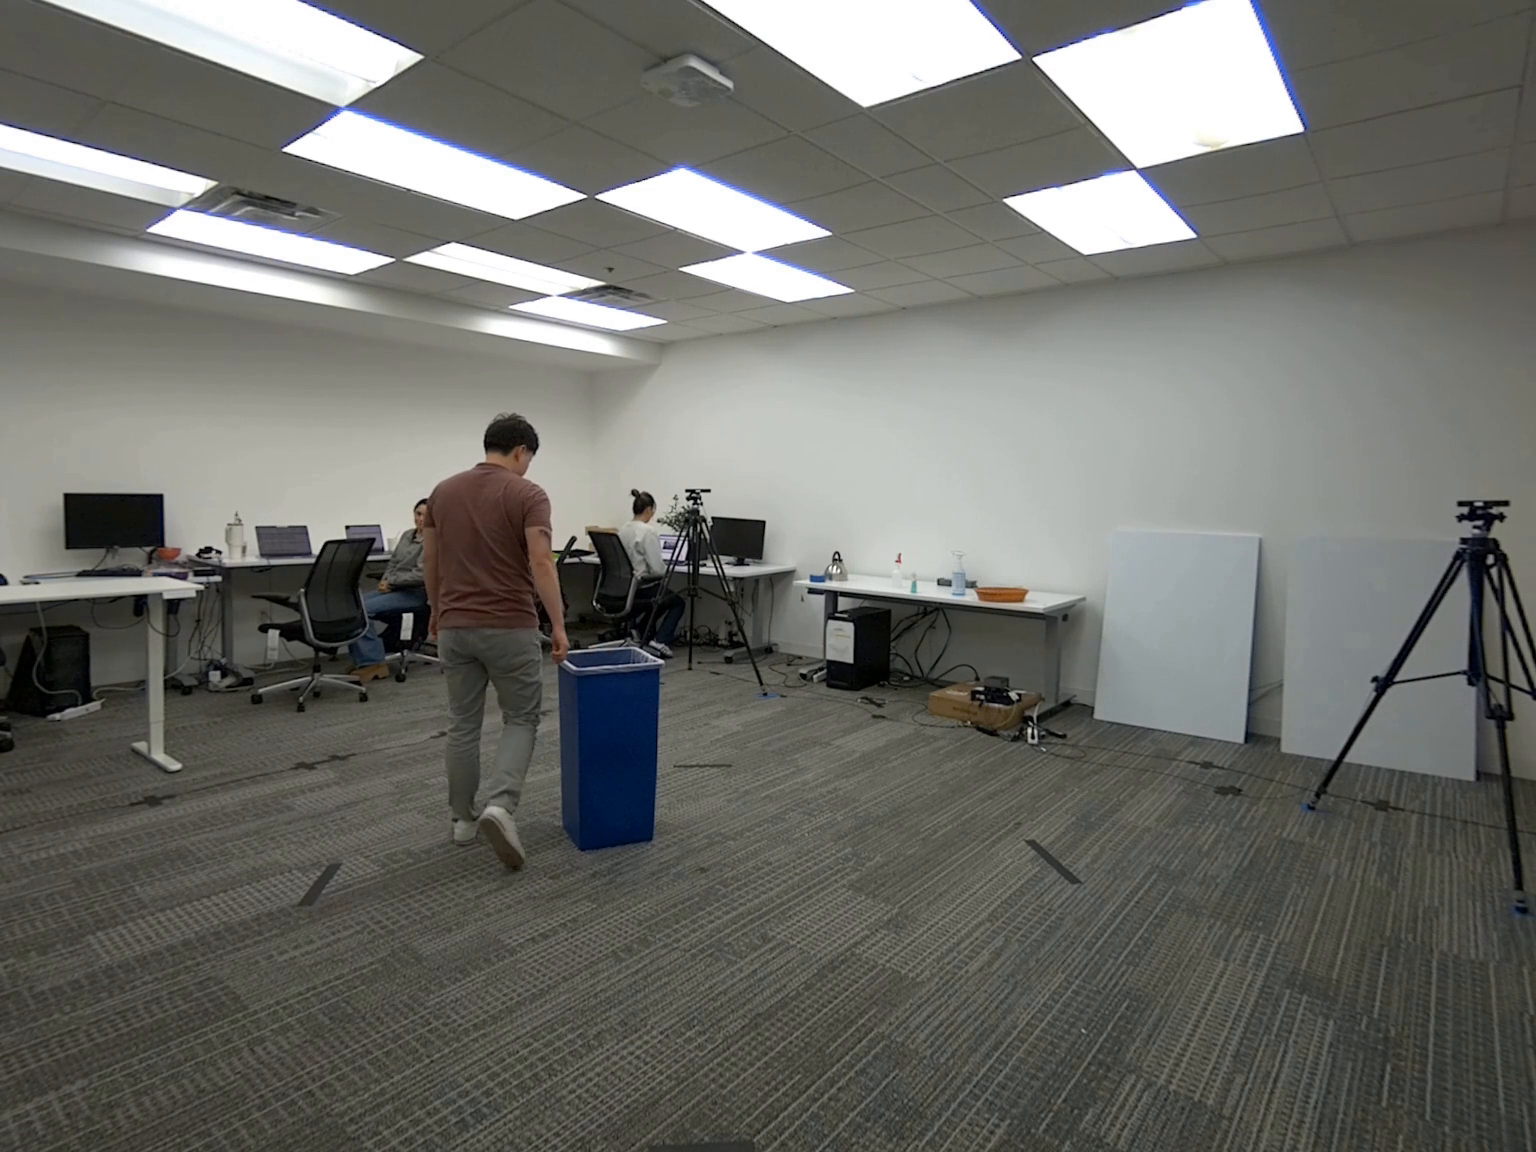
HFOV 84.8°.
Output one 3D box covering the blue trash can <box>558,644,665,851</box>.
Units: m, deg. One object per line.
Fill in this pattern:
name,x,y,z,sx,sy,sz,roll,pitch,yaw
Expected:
blue trash can,-0.663,0.680,3.421,0.365,0.712,0.389,0,3,-27
